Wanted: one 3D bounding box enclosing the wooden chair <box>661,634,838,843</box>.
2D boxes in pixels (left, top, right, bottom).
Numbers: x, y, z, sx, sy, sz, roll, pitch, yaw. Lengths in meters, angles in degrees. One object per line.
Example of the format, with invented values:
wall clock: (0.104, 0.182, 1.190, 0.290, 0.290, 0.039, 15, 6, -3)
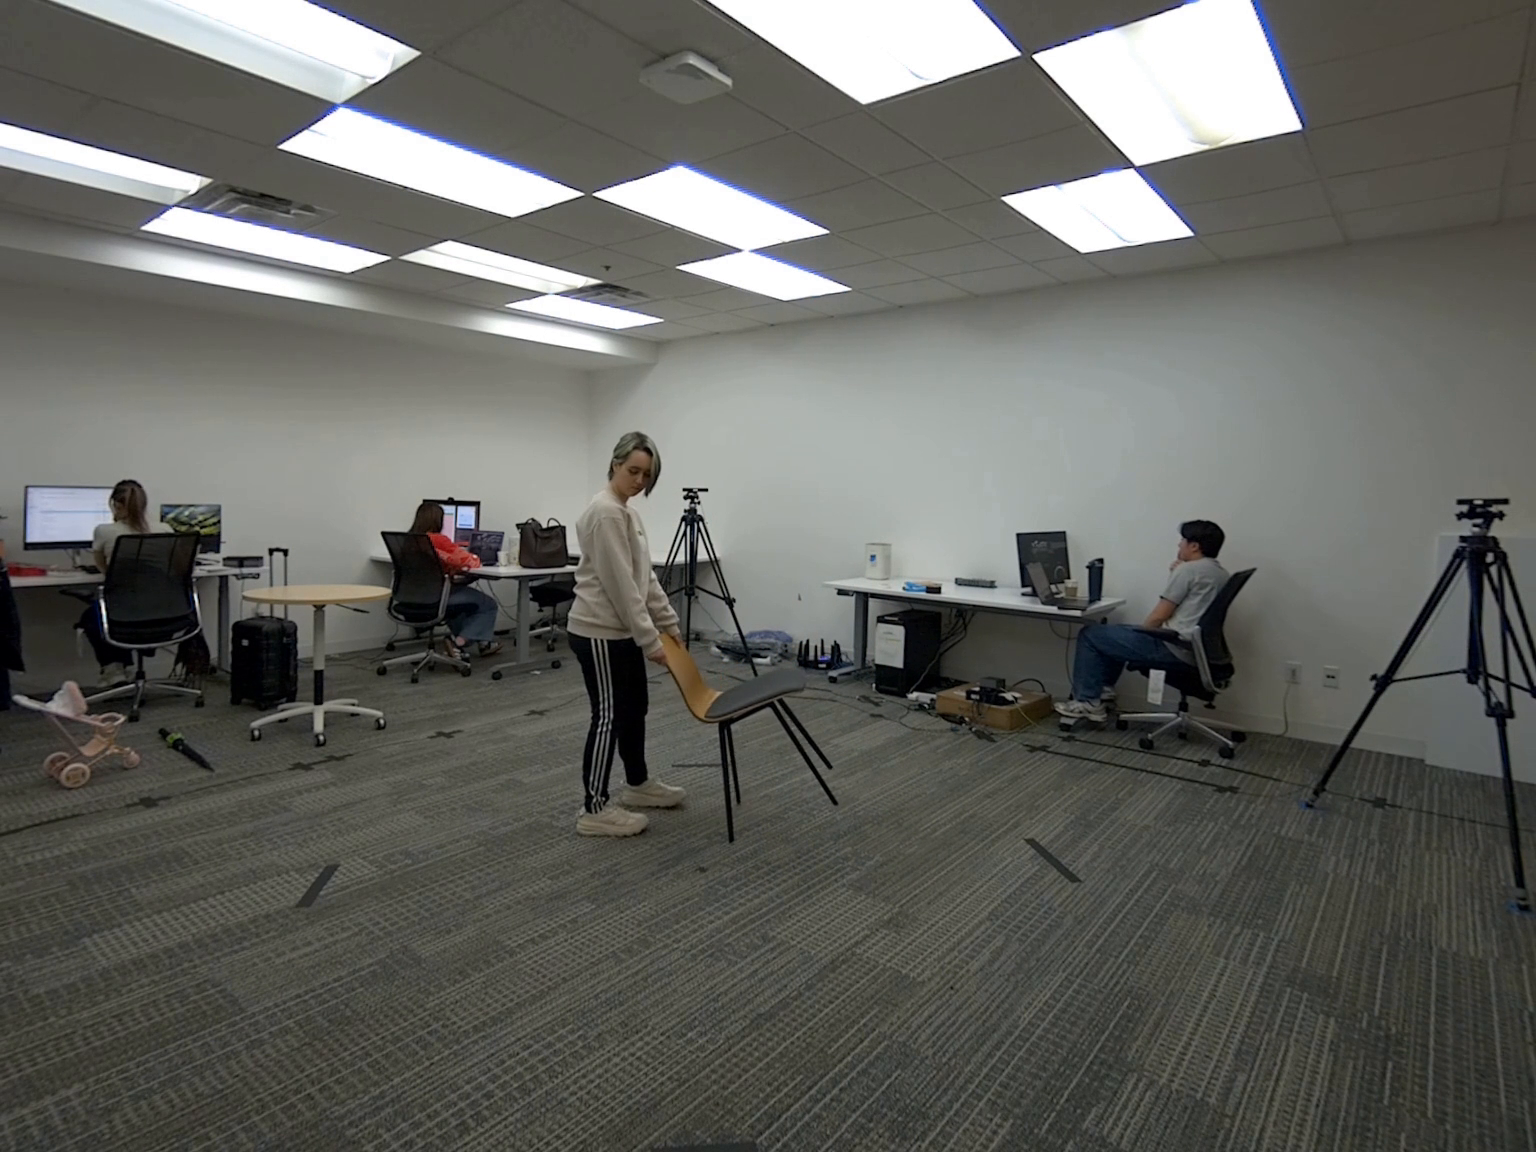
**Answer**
wooden chair: (-0.091, 0.551, 3.528, 0.524, 0.878, 0.477, -26, 0, 5)
